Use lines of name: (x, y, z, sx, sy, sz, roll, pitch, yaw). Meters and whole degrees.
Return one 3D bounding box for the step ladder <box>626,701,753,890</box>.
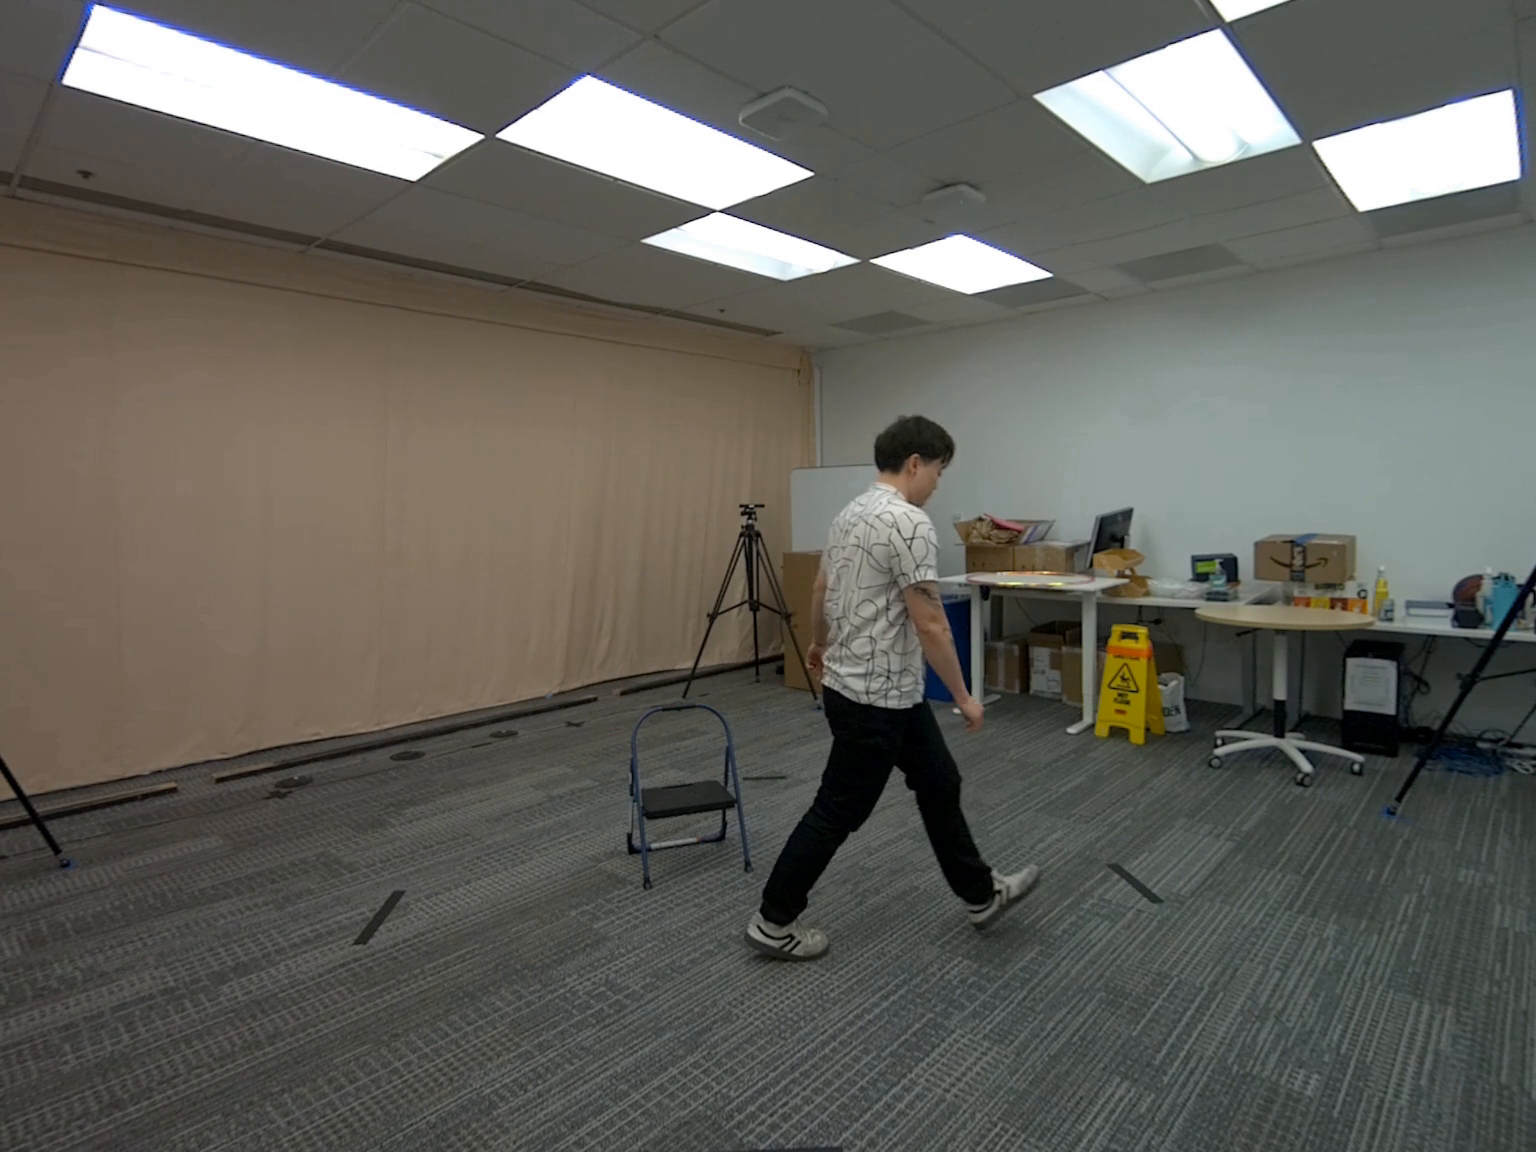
step ladder: (-0.320, 0.817, 3.285, 0.422, 0.605, 0.357, -2, 3, -20)
